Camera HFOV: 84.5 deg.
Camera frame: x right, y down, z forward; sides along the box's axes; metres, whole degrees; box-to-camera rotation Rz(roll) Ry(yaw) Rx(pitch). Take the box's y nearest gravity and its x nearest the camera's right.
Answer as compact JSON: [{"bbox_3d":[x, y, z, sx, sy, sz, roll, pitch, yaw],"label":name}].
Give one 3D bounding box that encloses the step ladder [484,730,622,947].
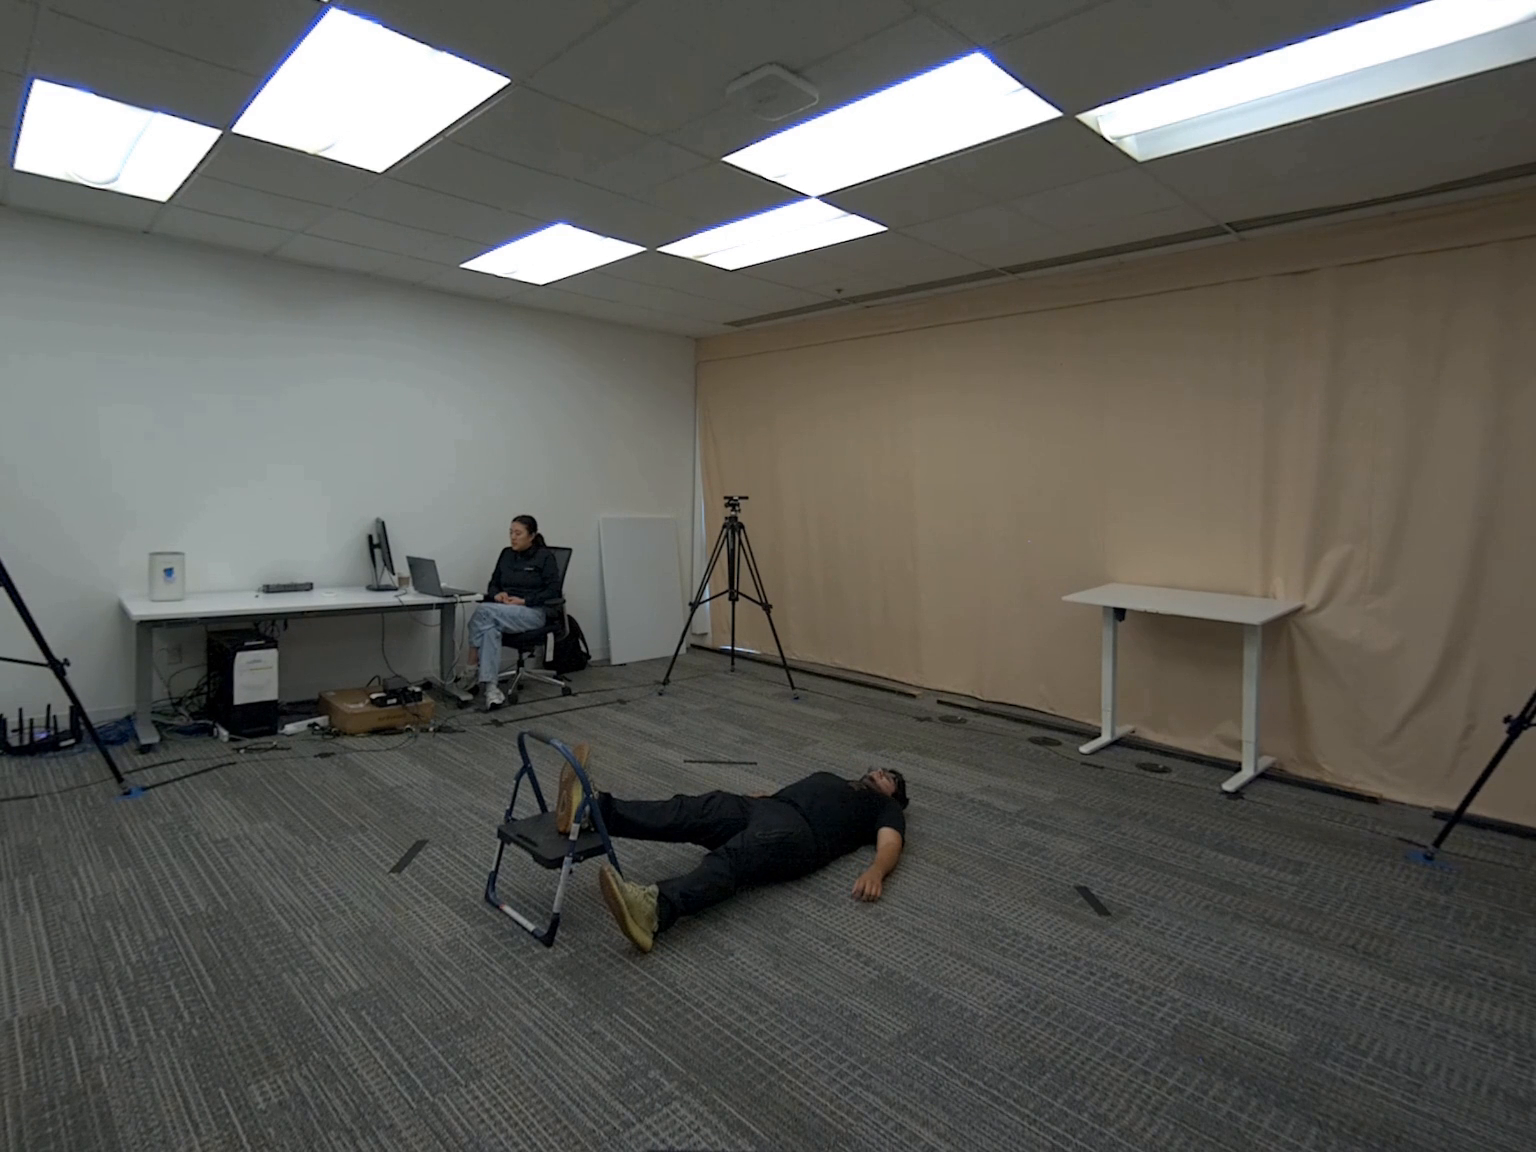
[{"bbox_3d":[-0.703,0.815,2.821,0.441,0.604,0.341,4,5,45],"label":"step ladder"}]
